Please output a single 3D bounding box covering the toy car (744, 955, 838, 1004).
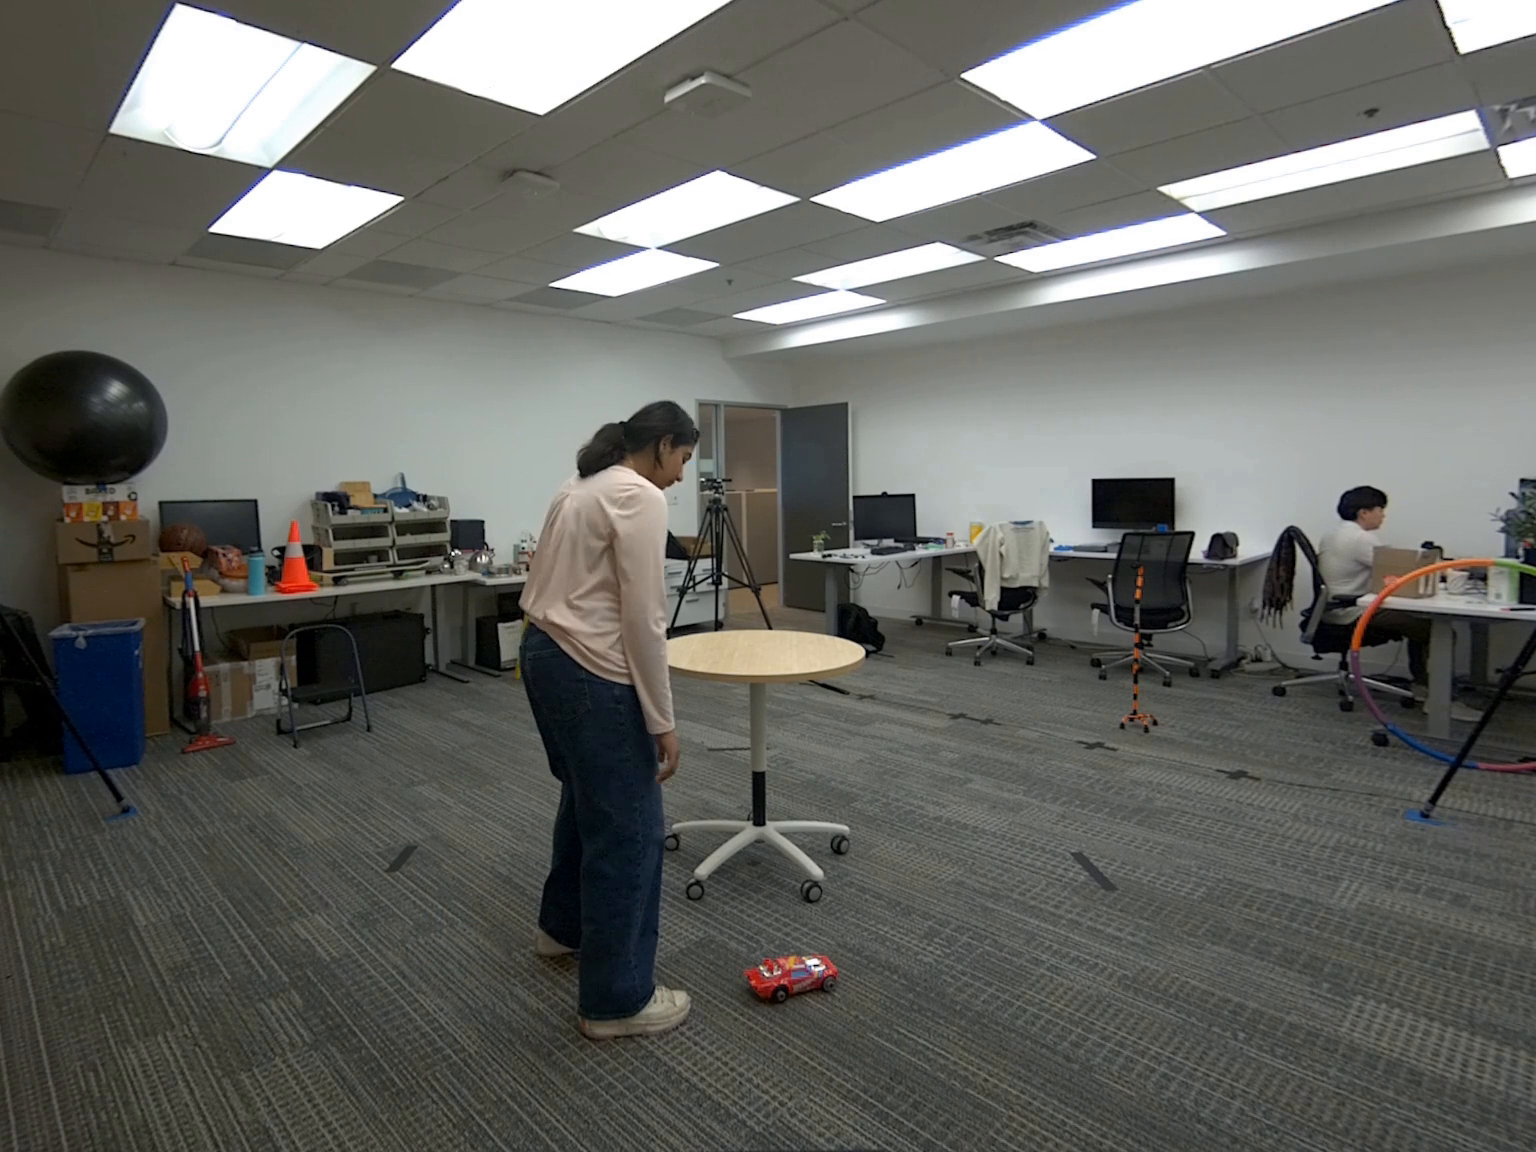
[{"bbox_3d":[0.063,1.098,2.338,0.249,0.083,0.133,7,2,-20],"label":"toy car"}]
